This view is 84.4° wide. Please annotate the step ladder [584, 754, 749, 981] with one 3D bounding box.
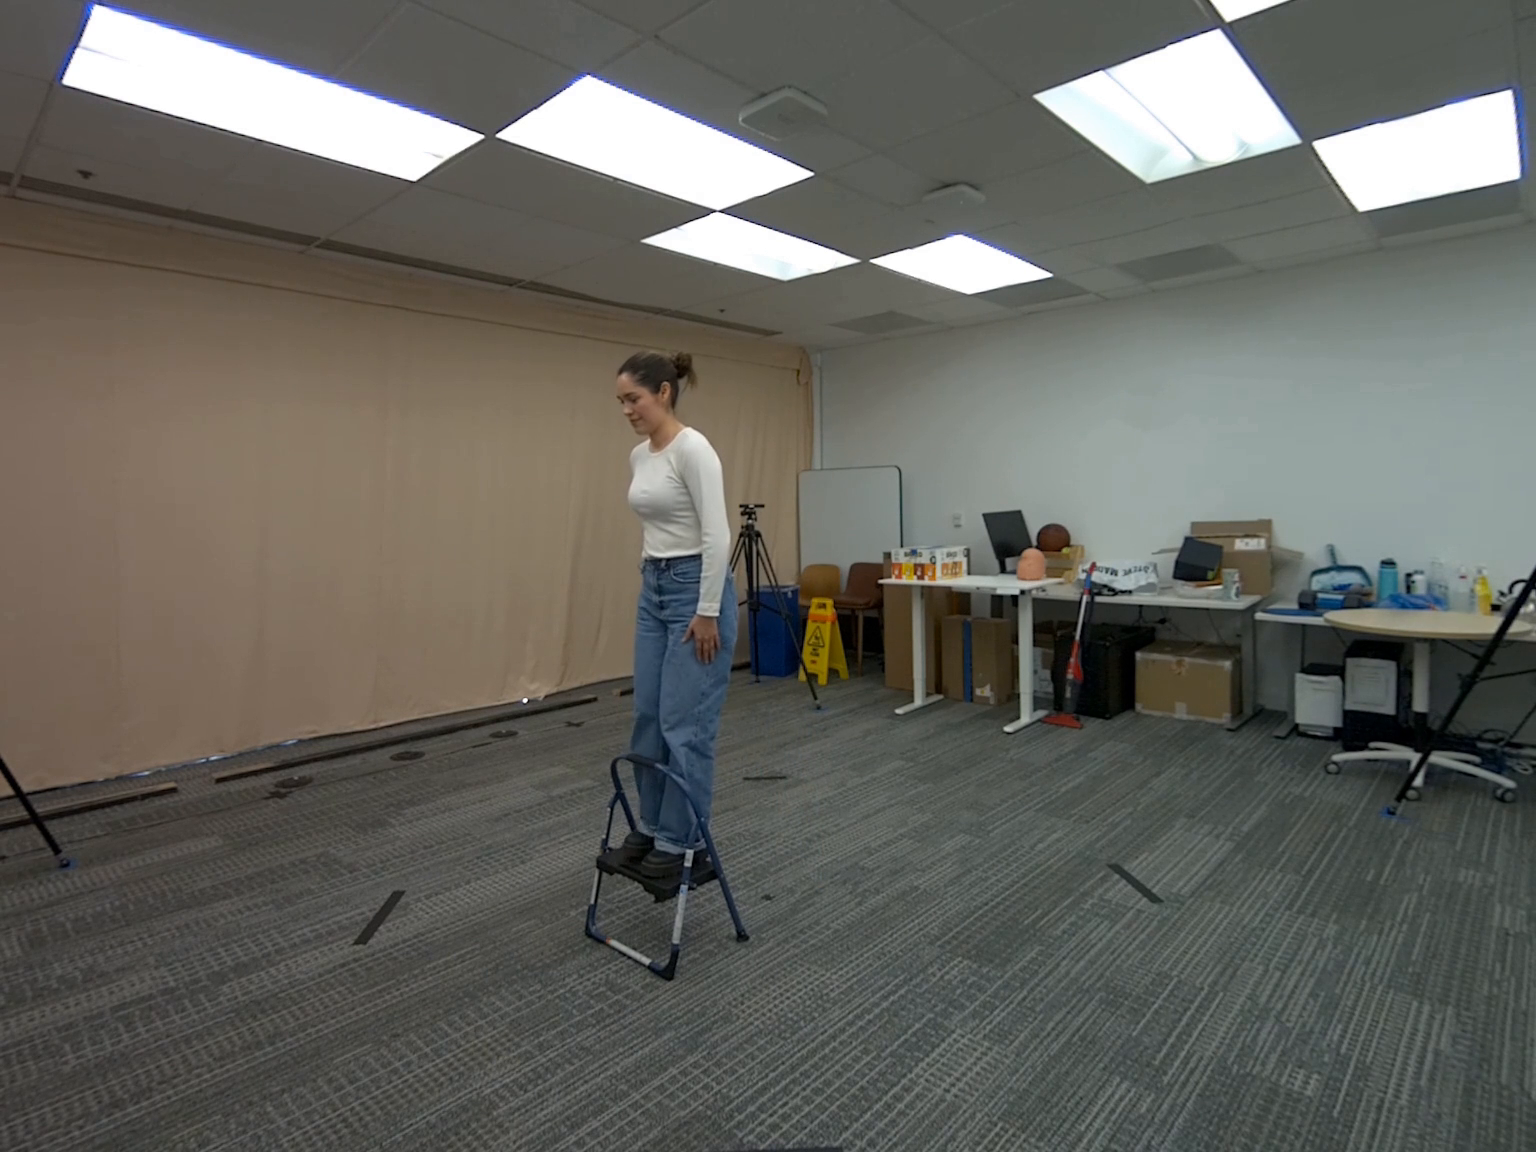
[{"bbox_3d":[-0.337,0.868,2.715,0.445,0.605,0.339,2,4,42],"label":"step ladder"}]
